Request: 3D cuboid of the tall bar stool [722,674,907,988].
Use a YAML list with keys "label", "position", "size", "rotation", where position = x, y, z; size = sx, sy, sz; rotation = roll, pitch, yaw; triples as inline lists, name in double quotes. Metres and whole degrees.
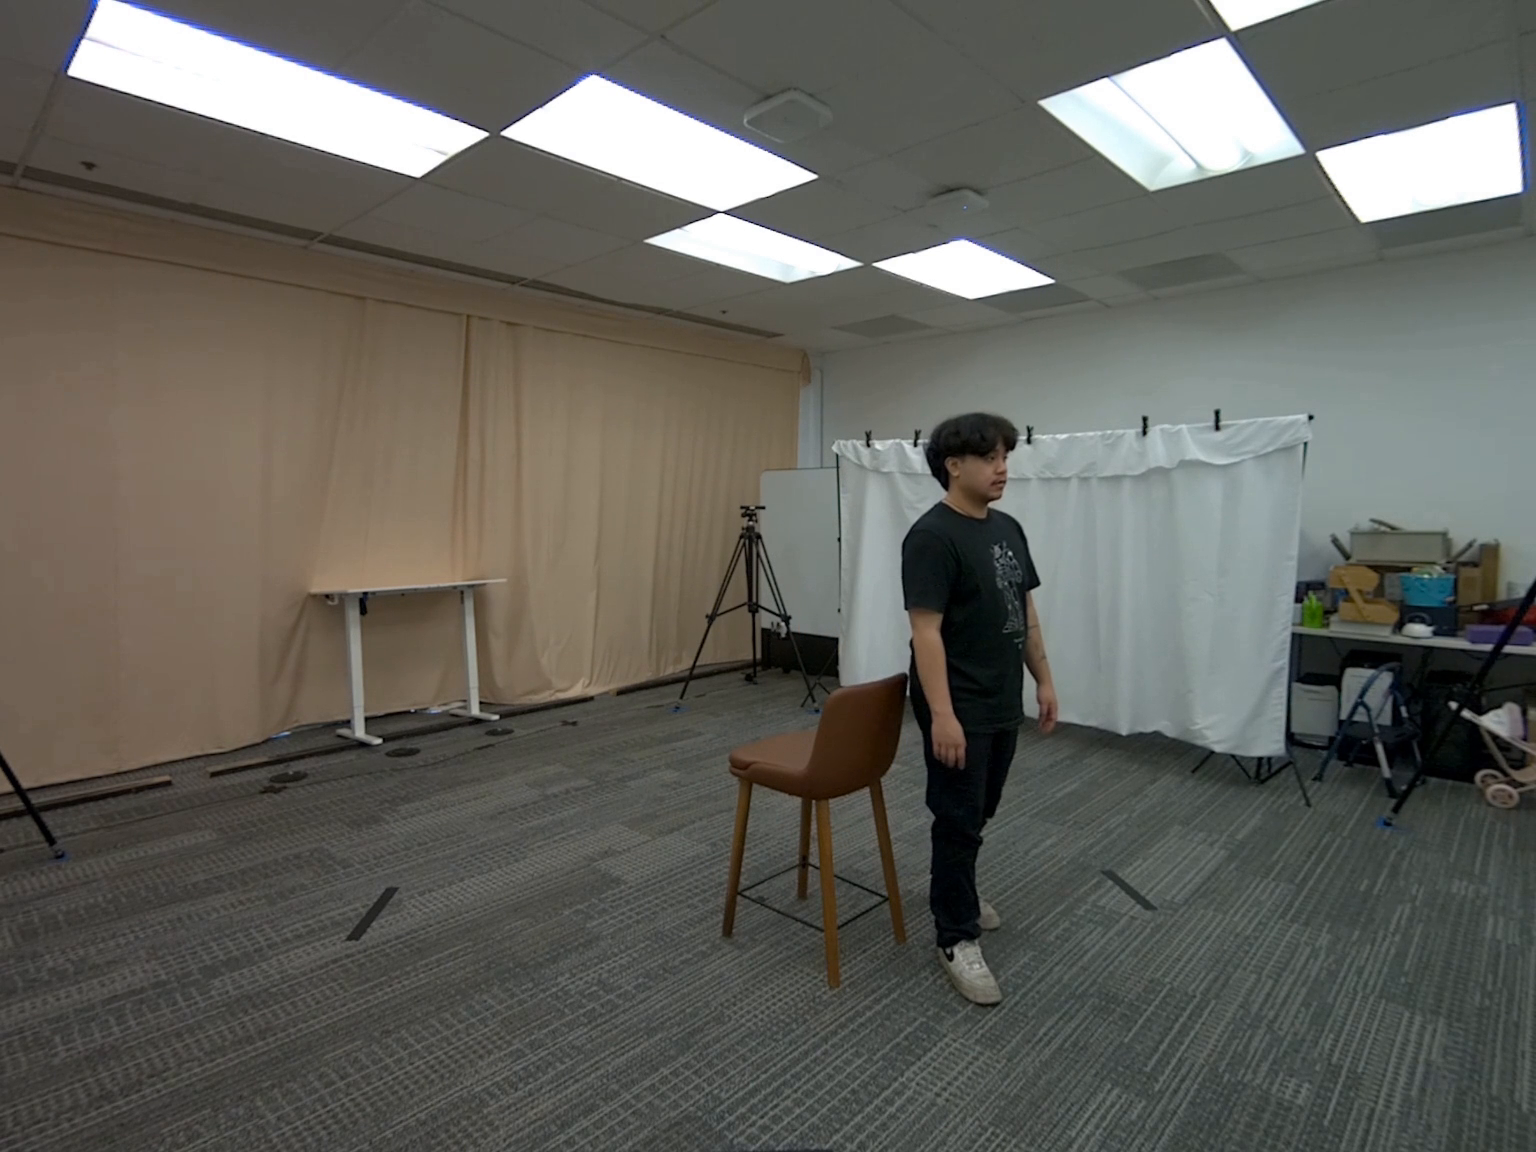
- label: "tall bar stool"
  position: [0.162, 0.733, 2.684]
  size: [0.484, 0.887, 0.442]
  rotation: [6, 6, 44]
